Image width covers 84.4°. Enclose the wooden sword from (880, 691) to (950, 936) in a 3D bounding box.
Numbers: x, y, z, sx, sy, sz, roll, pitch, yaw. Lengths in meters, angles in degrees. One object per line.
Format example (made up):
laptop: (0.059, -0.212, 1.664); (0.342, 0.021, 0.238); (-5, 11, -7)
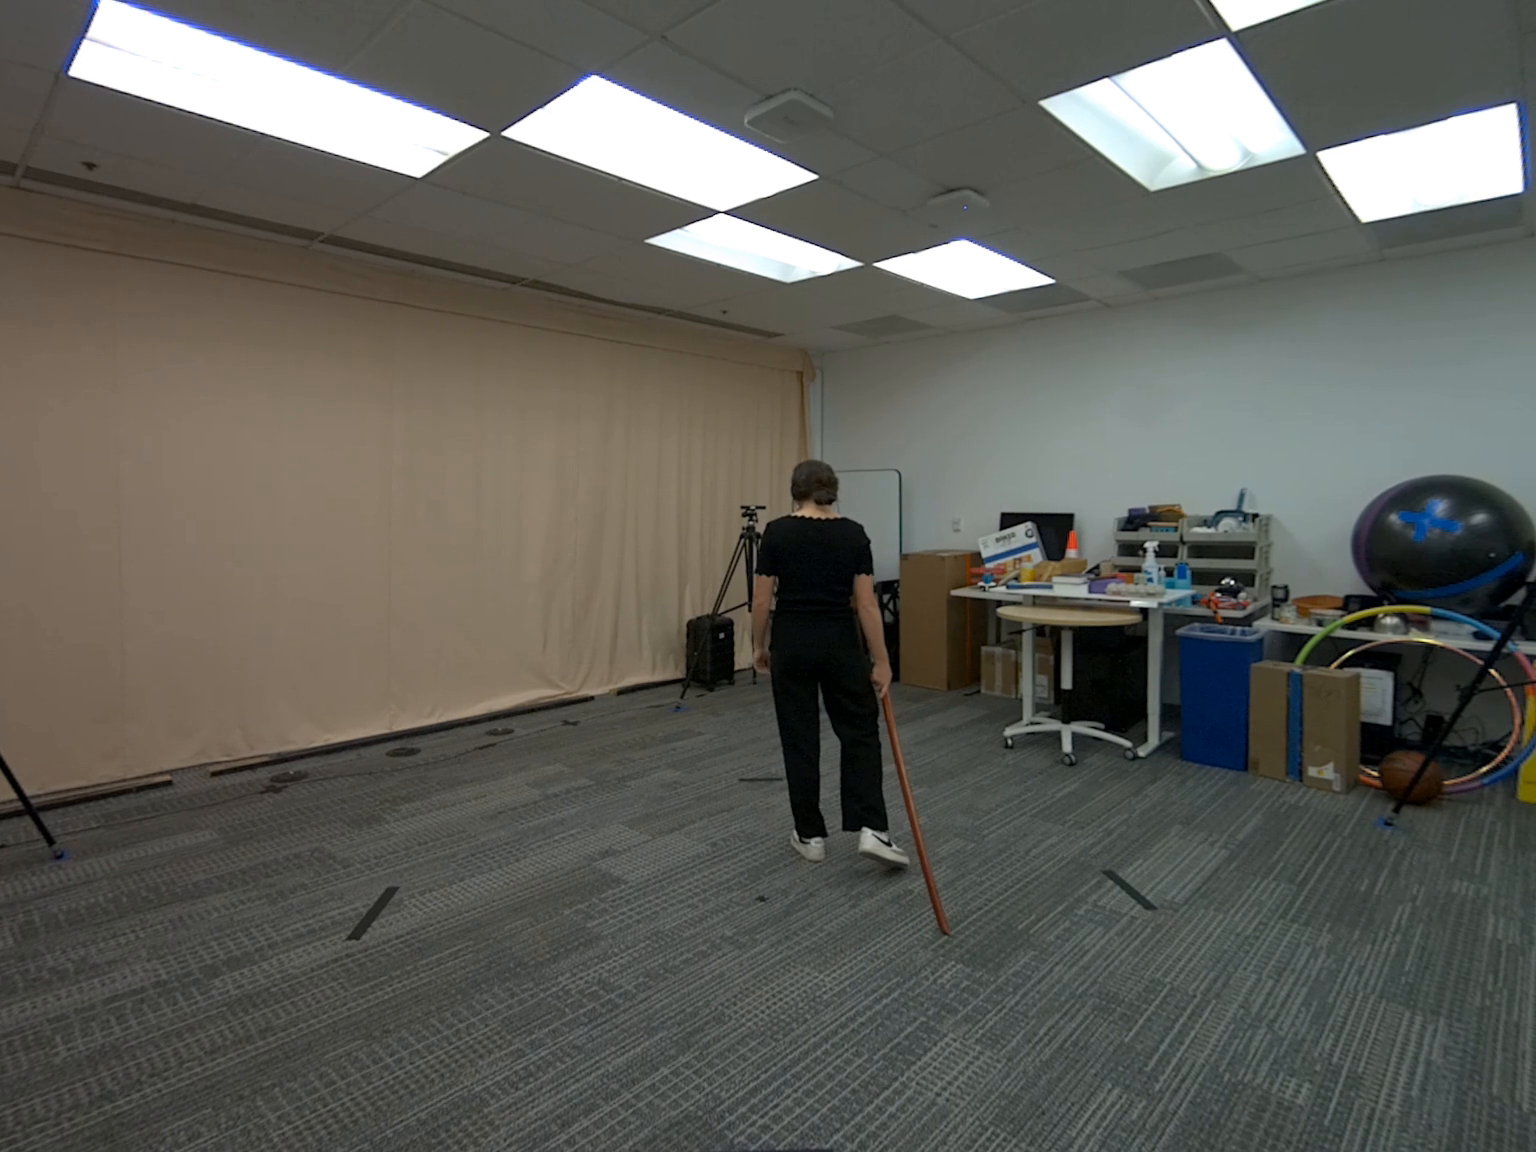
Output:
wooden sword: (0.512, 0.760, 3.050); (0.051, 1.048, 0.024); (1, -40, -12)
